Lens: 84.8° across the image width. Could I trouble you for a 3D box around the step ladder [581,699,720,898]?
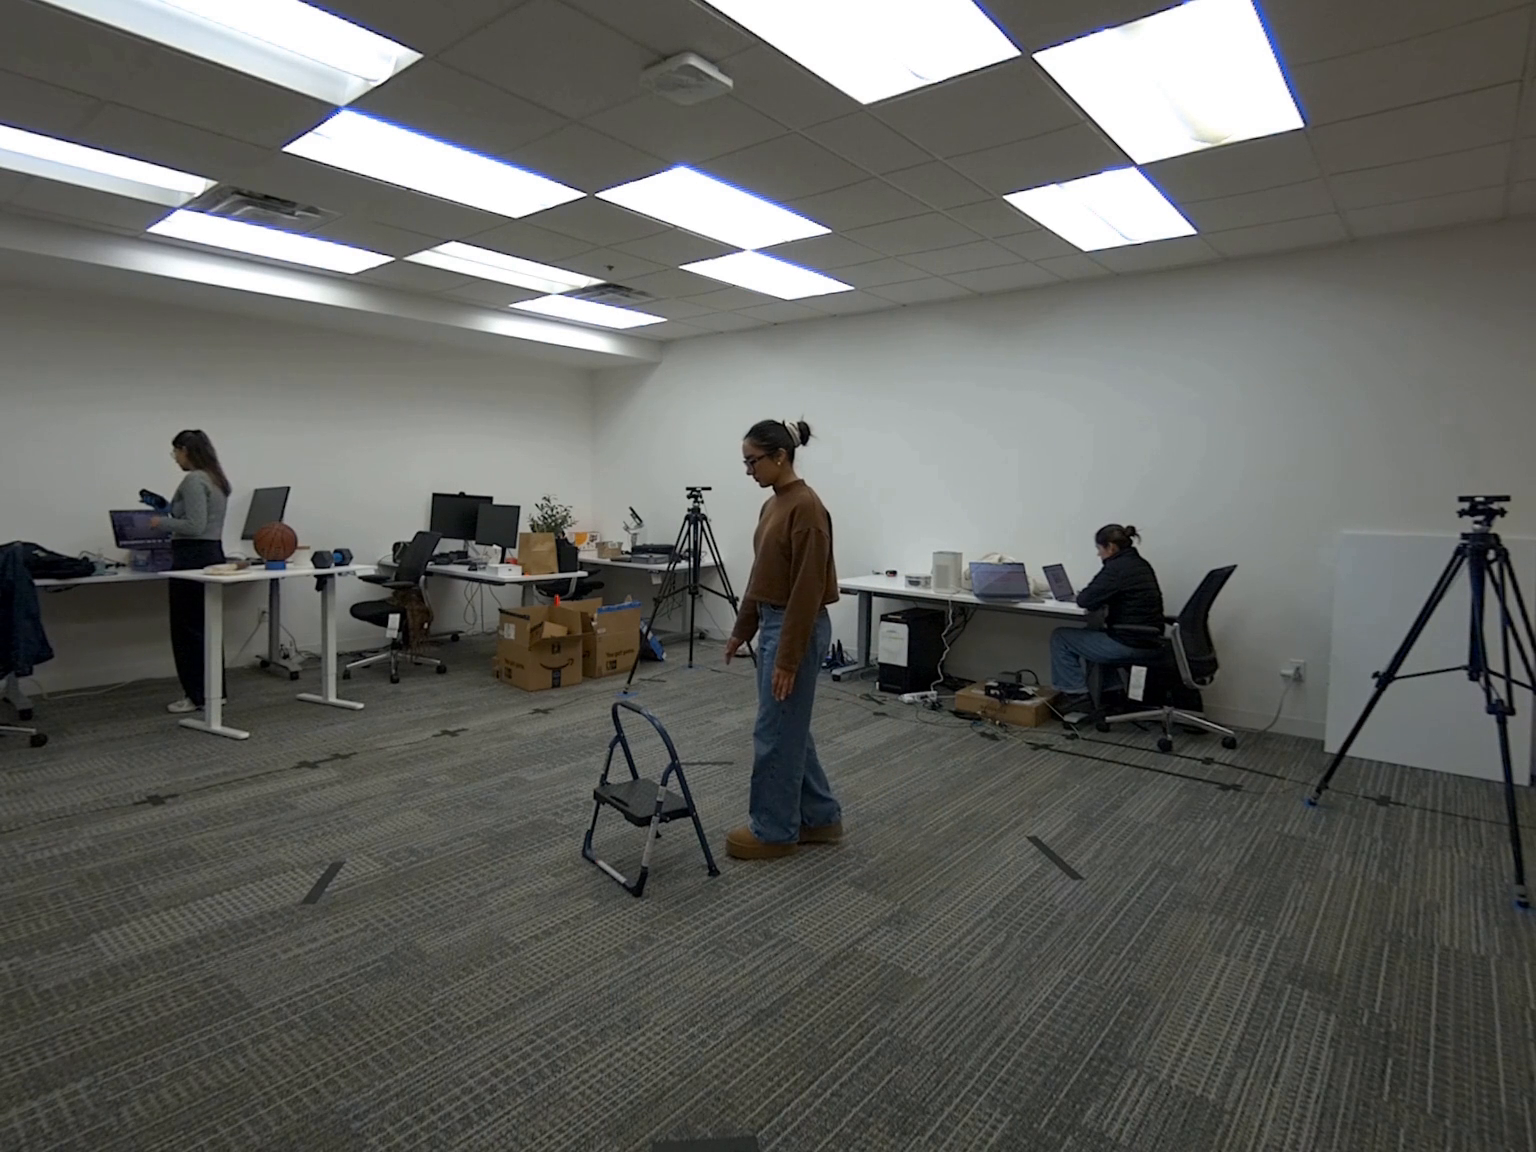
[{"bbox_3d":[-0.443,0.758,3.117,0.339,0.604,0.445,-2,4,-39],"label":"step ladder"}]
